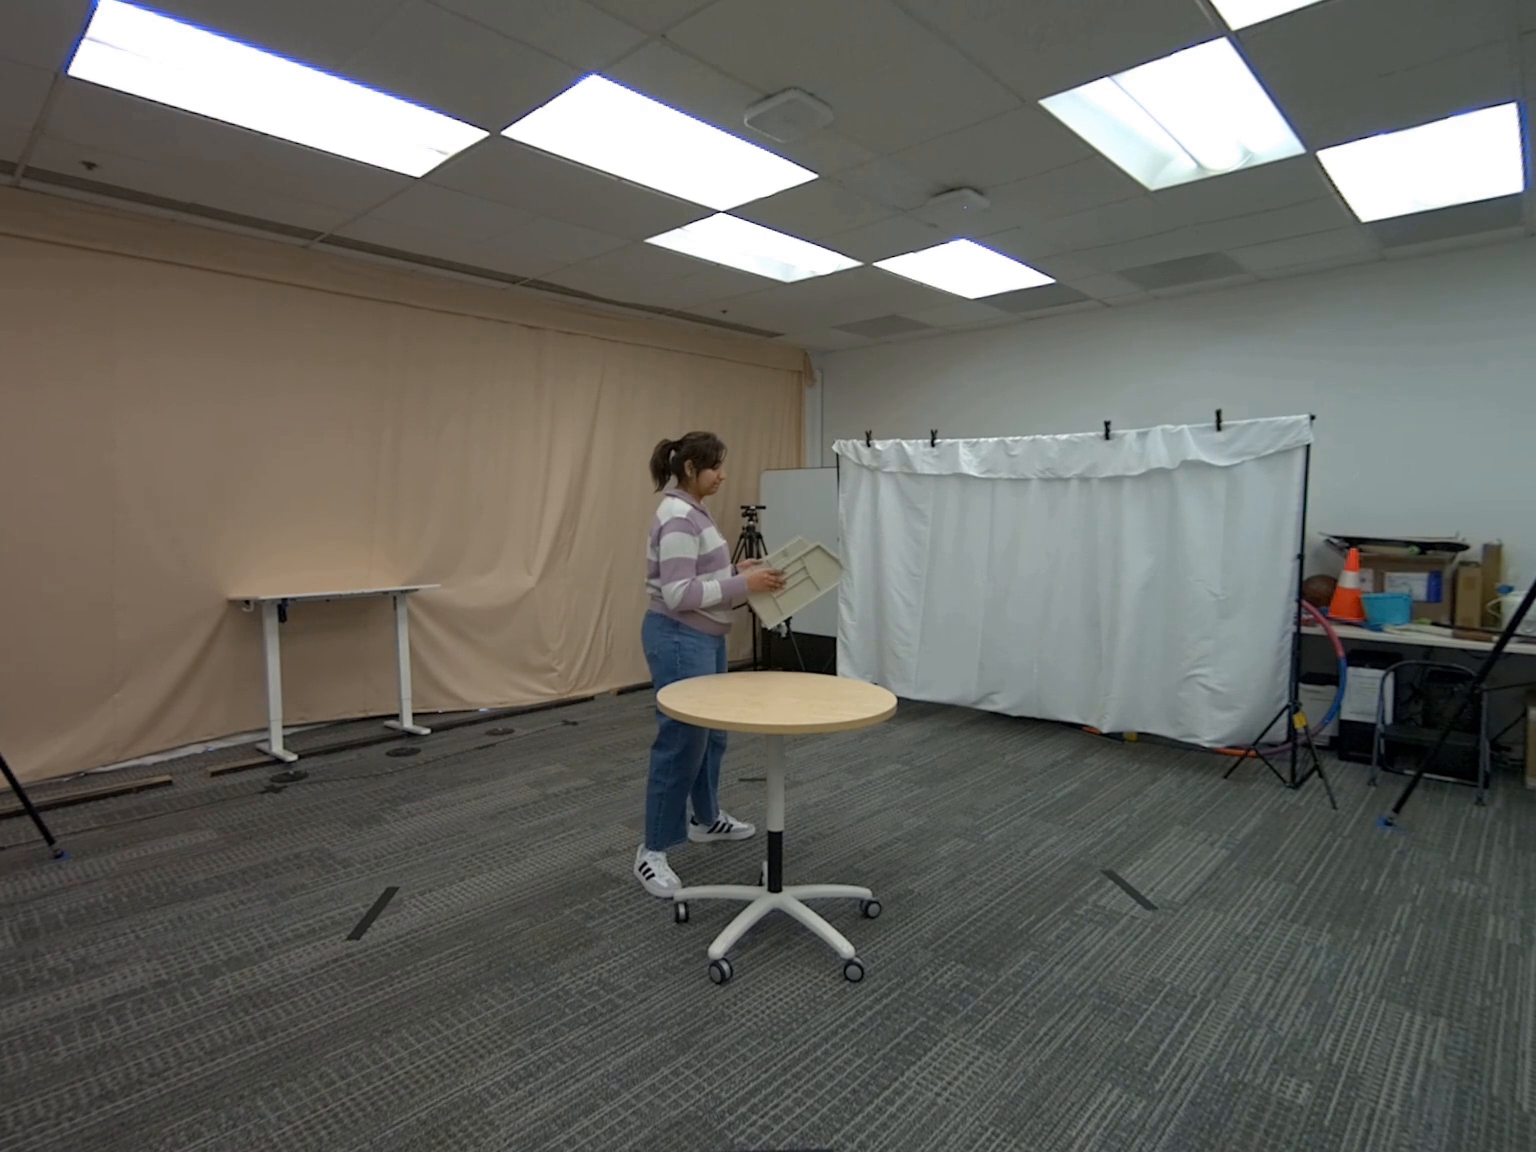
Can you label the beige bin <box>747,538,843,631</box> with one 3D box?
[{"bbox_3d":[0.078,0.012,3.314,0.377,0.187,0.426,-33,8,-2],"label":"beige bin"}]
